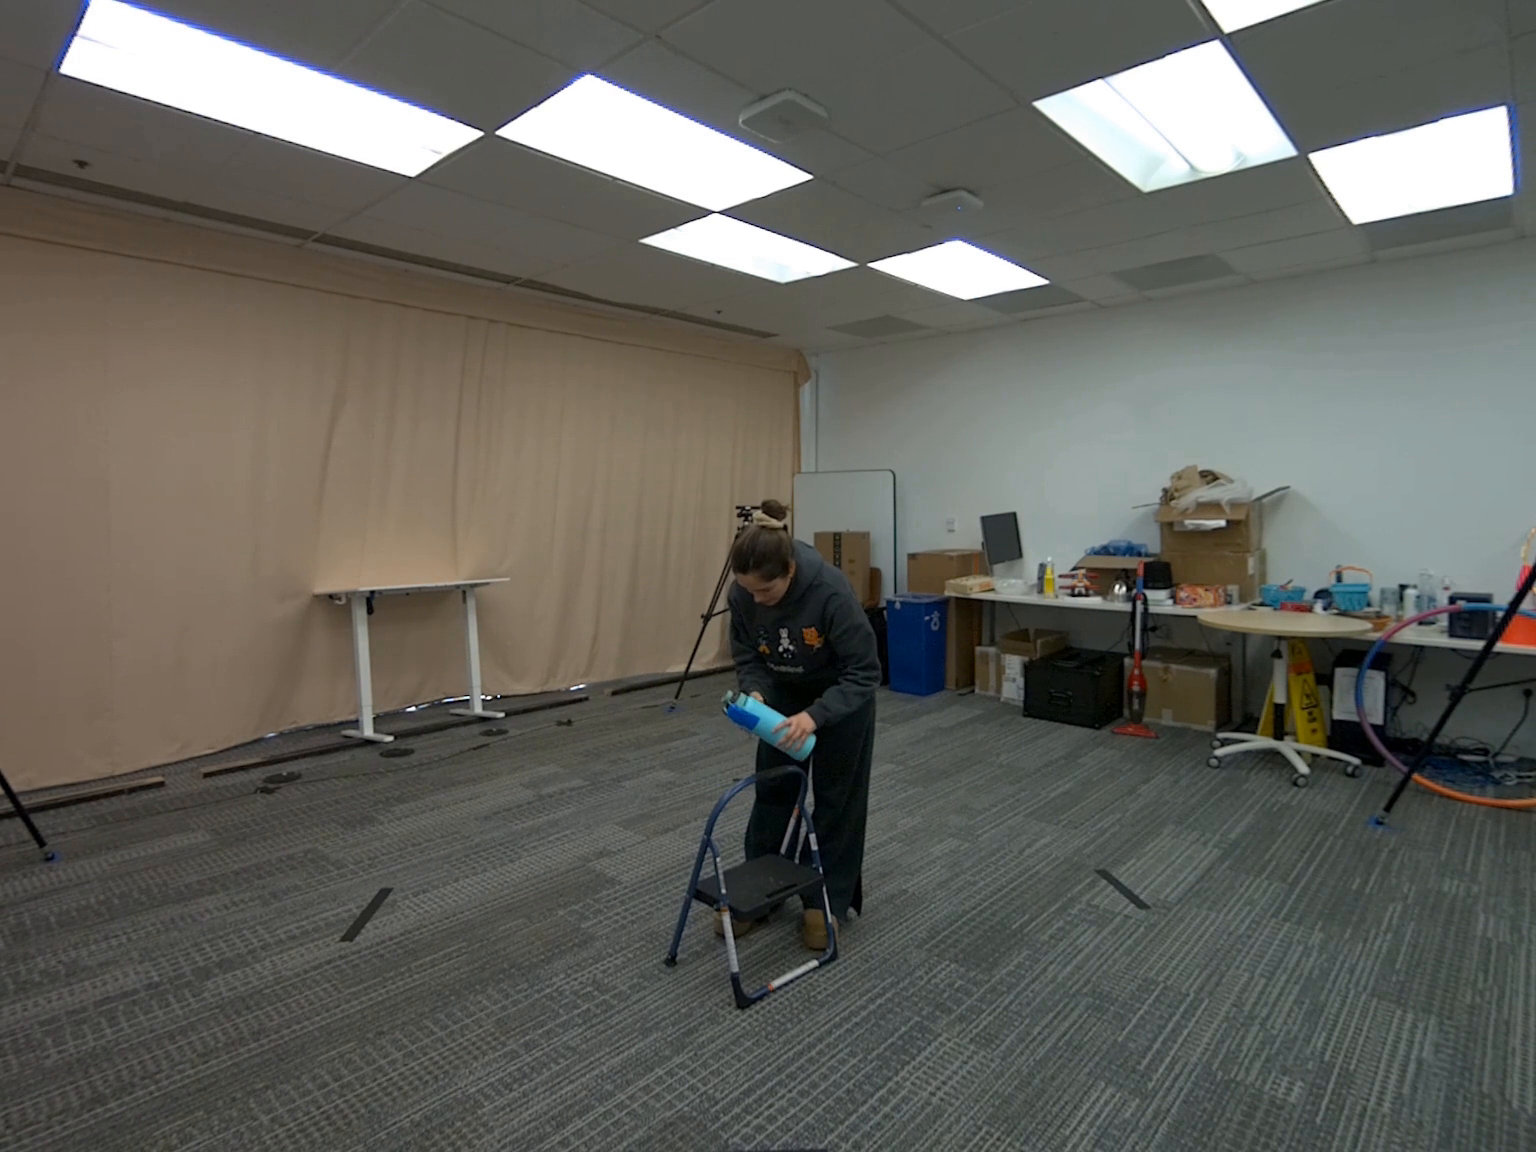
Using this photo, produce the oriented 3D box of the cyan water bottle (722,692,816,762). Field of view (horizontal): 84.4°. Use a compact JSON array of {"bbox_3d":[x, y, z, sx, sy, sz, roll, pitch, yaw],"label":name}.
[{"bbox_3d":[0.014,0.438,2.419,0.281,0.092,0.093,30,-1,-7],"label":"cyan water bottle"}]
